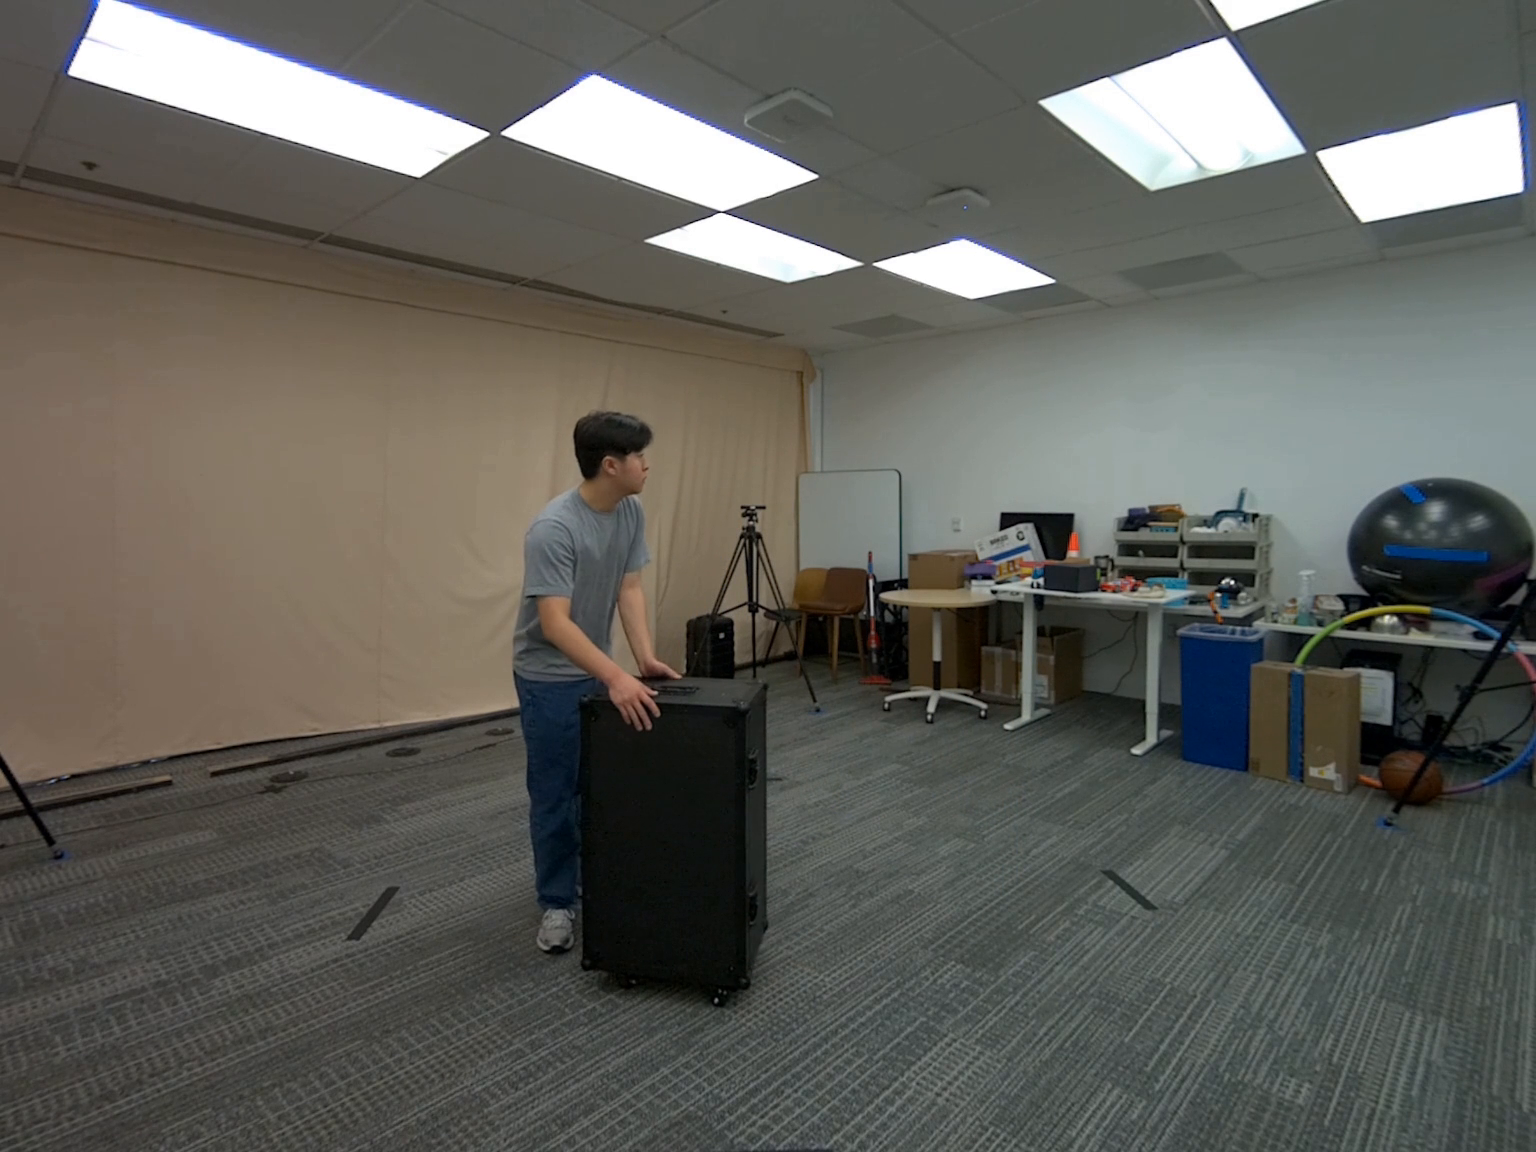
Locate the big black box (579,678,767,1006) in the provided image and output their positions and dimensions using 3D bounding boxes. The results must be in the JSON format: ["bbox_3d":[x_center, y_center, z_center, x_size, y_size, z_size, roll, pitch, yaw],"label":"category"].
[{"bbox_3d":[-0.264,0.768,2.512,0.529,0.860,0.391,1,2,12],"label":"big black box"}]
